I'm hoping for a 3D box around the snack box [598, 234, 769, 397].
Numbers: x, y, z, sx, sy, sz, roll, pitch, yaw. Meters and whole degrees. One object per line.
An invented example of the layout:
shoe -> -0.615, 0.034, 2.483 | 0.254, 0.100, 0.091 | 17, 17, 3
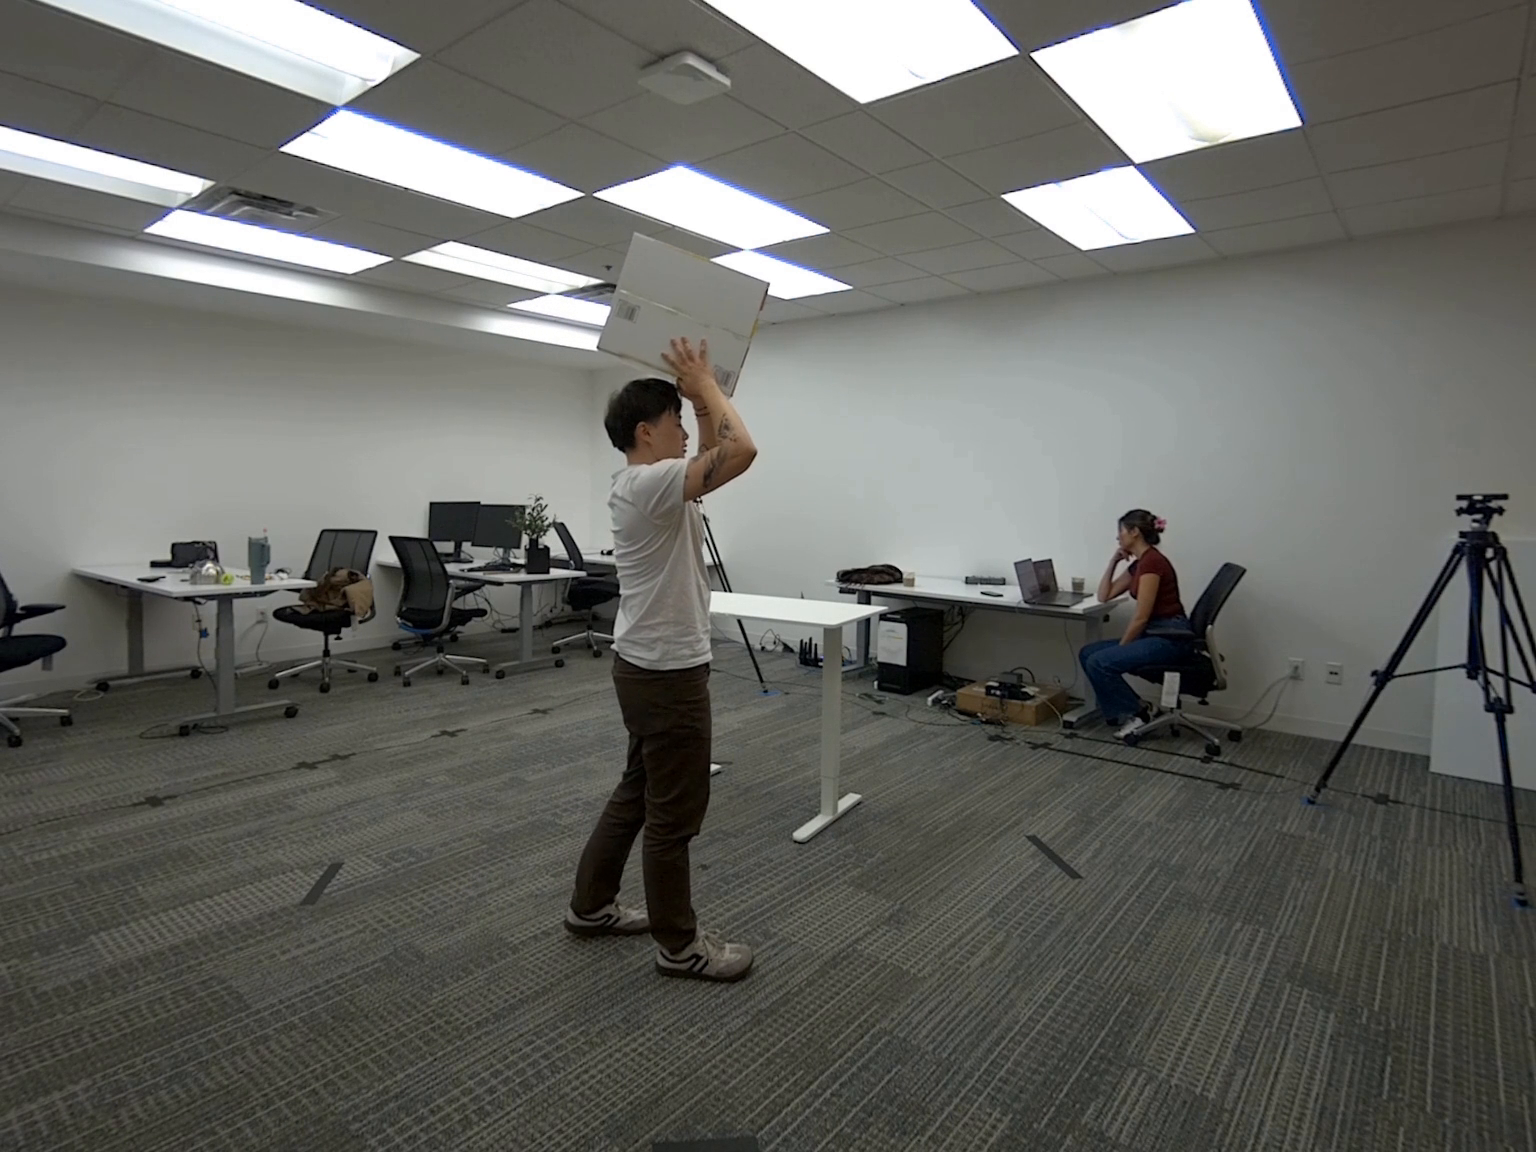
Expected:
snack box -> -0.255, -0.743, 2.470 | 0.402, 0.340, 0.207 | 19, 3, -6
